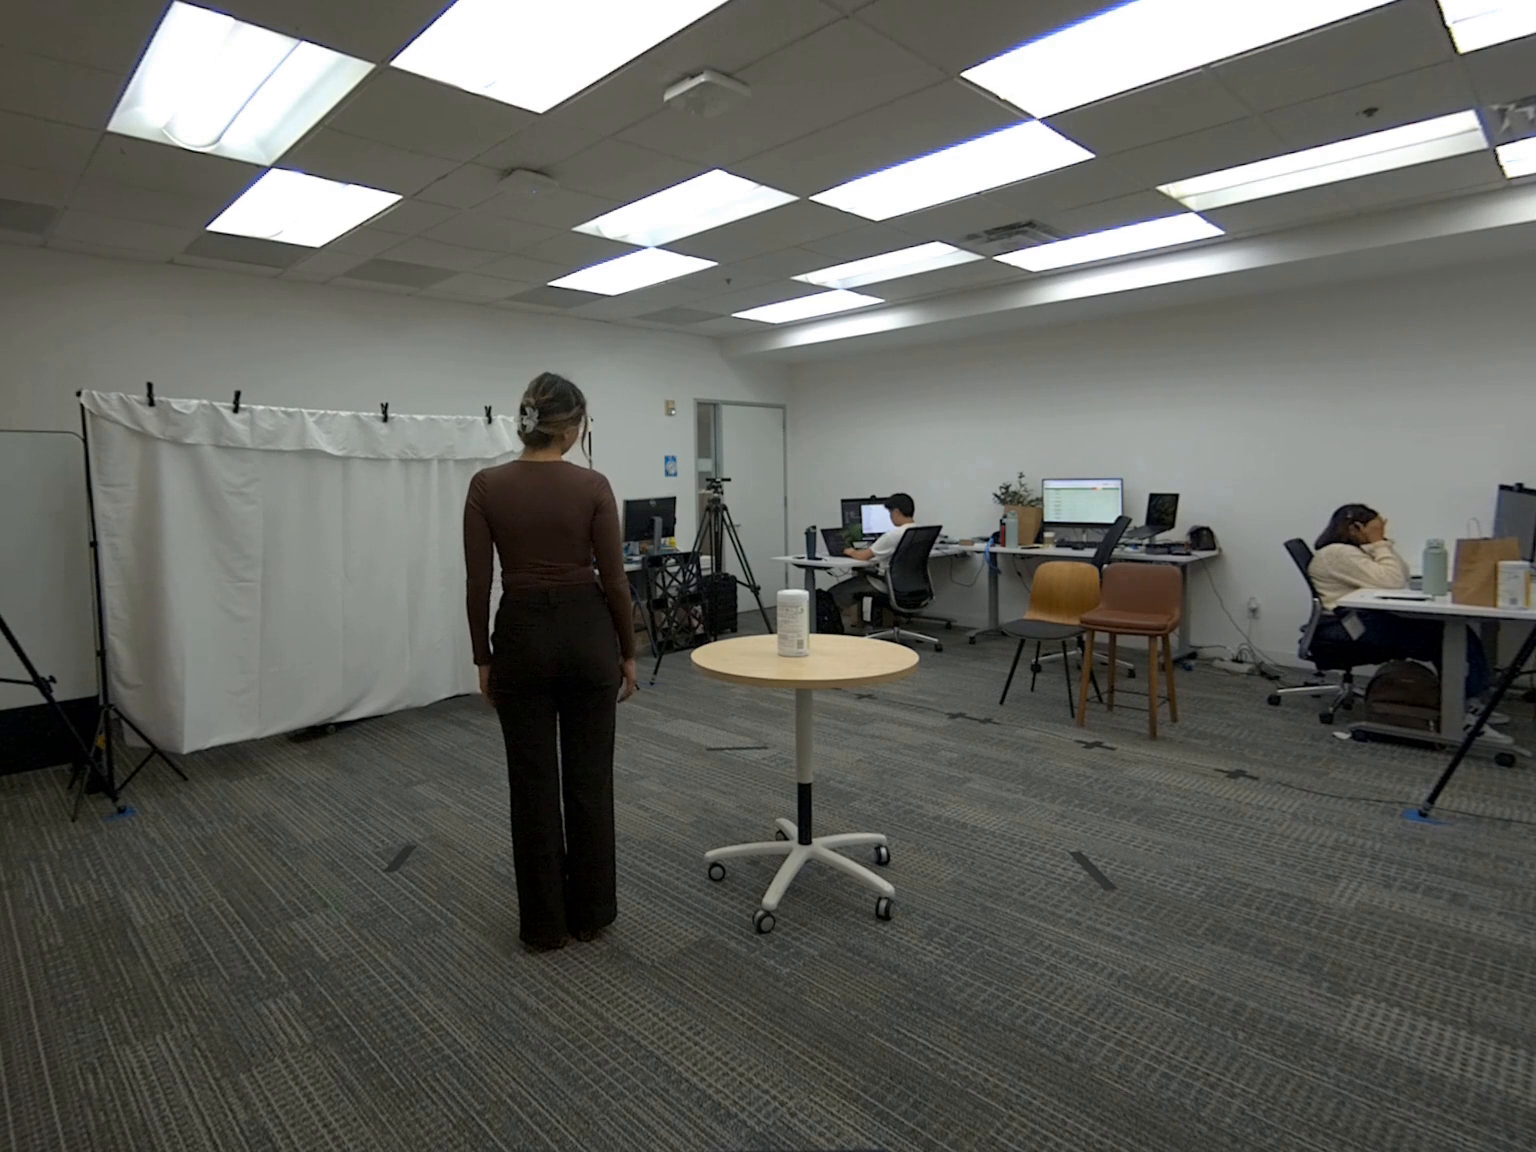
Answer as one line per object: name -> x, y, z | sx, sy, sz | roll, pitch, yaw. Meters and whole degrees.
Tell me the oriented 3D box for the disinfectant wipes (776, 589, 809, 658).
disinfectant wipes -> 0.090, 0.160, 2.894 | 0.118, 0.217, 0.118 | -2, 3, -2
